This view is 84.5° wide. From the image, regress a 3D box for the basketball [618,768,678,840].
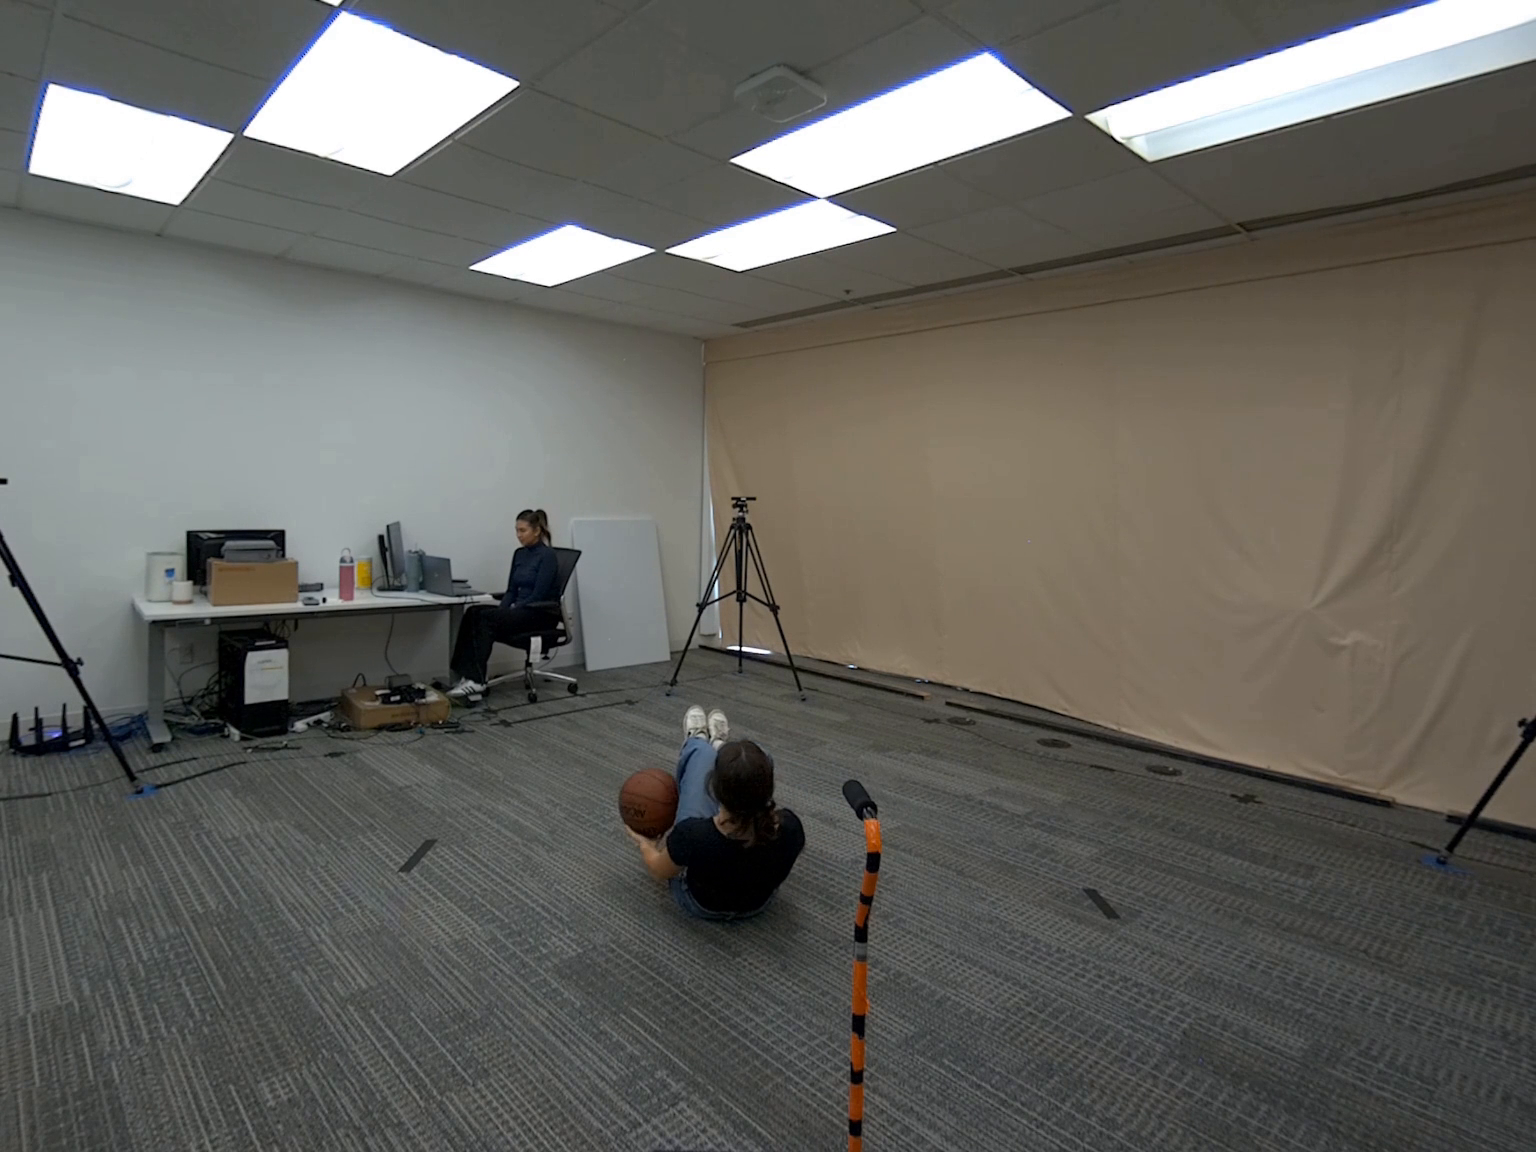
[{"bbox_3d":[-0.427,0.814,3.090,0.236,0.235,0.237,1,4,-1],"label":"basketball"}]
